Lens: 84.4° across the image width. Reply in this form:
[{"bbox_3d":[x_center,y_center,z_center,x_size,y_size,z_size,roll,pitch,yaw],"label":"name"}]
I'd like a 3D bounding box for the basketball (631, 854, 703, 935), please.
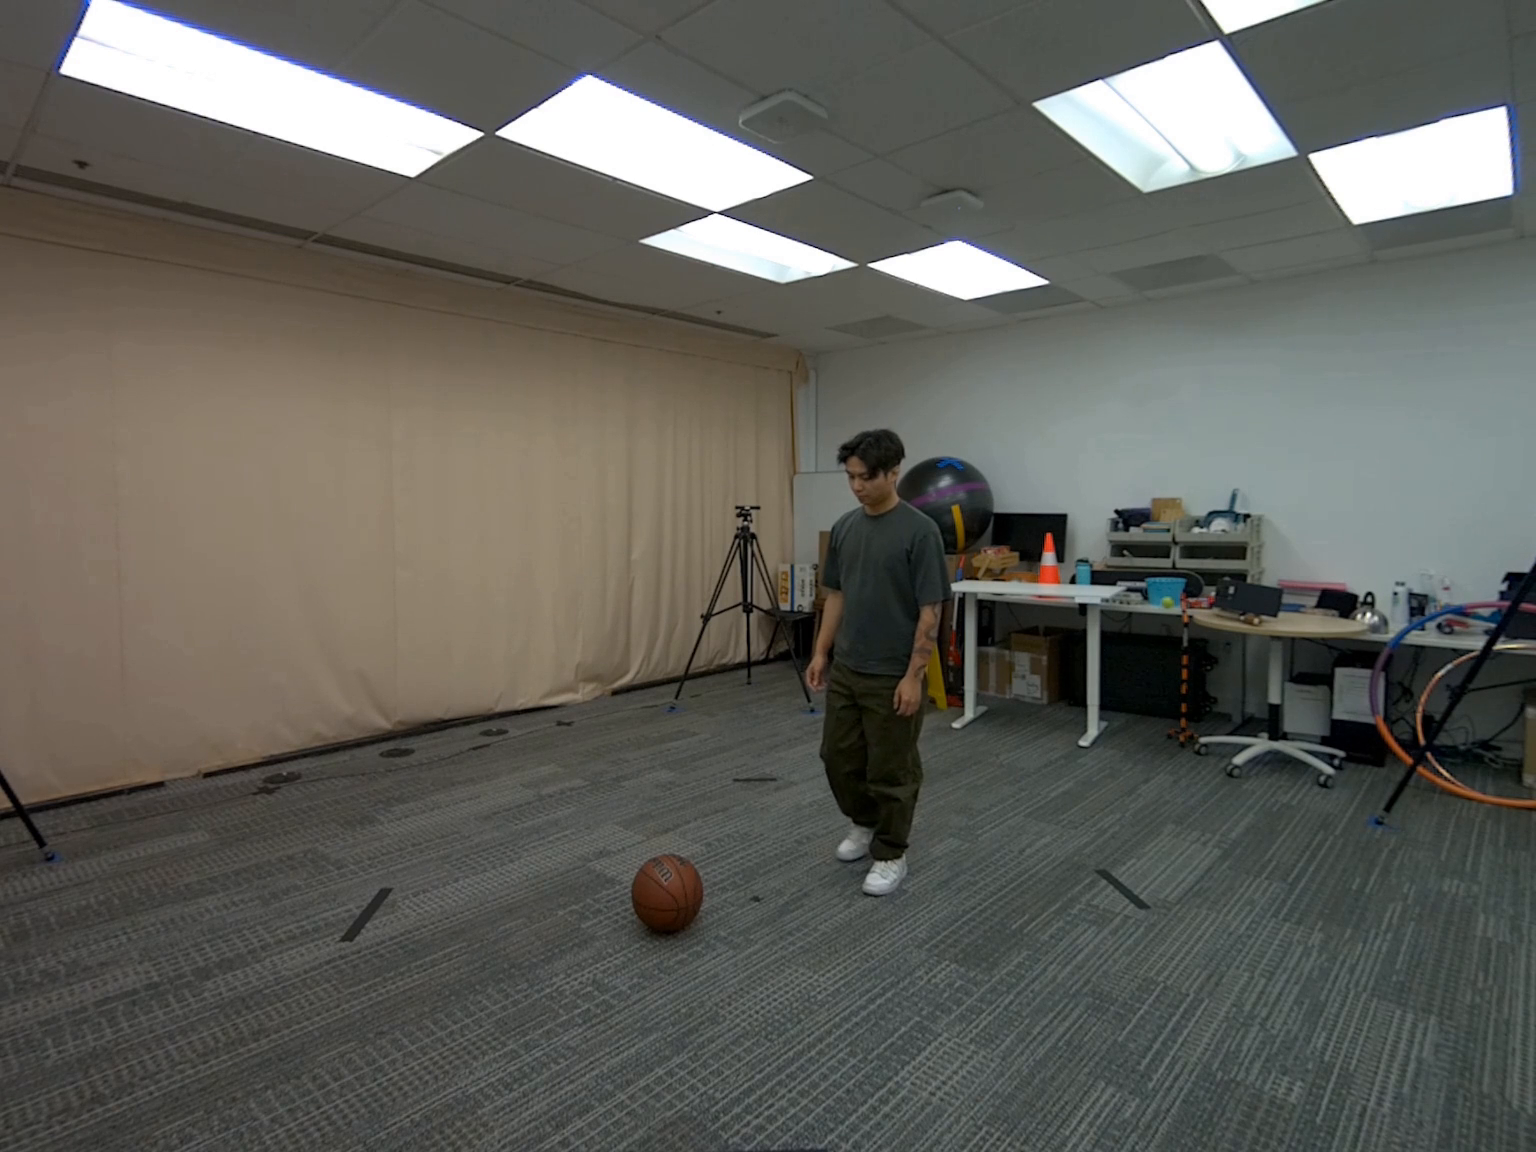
[{"bbox_3d":[-0.325,1.040,2.774,0.236,0.235,0.237,0,4,-2],"label":"basketball"}]
